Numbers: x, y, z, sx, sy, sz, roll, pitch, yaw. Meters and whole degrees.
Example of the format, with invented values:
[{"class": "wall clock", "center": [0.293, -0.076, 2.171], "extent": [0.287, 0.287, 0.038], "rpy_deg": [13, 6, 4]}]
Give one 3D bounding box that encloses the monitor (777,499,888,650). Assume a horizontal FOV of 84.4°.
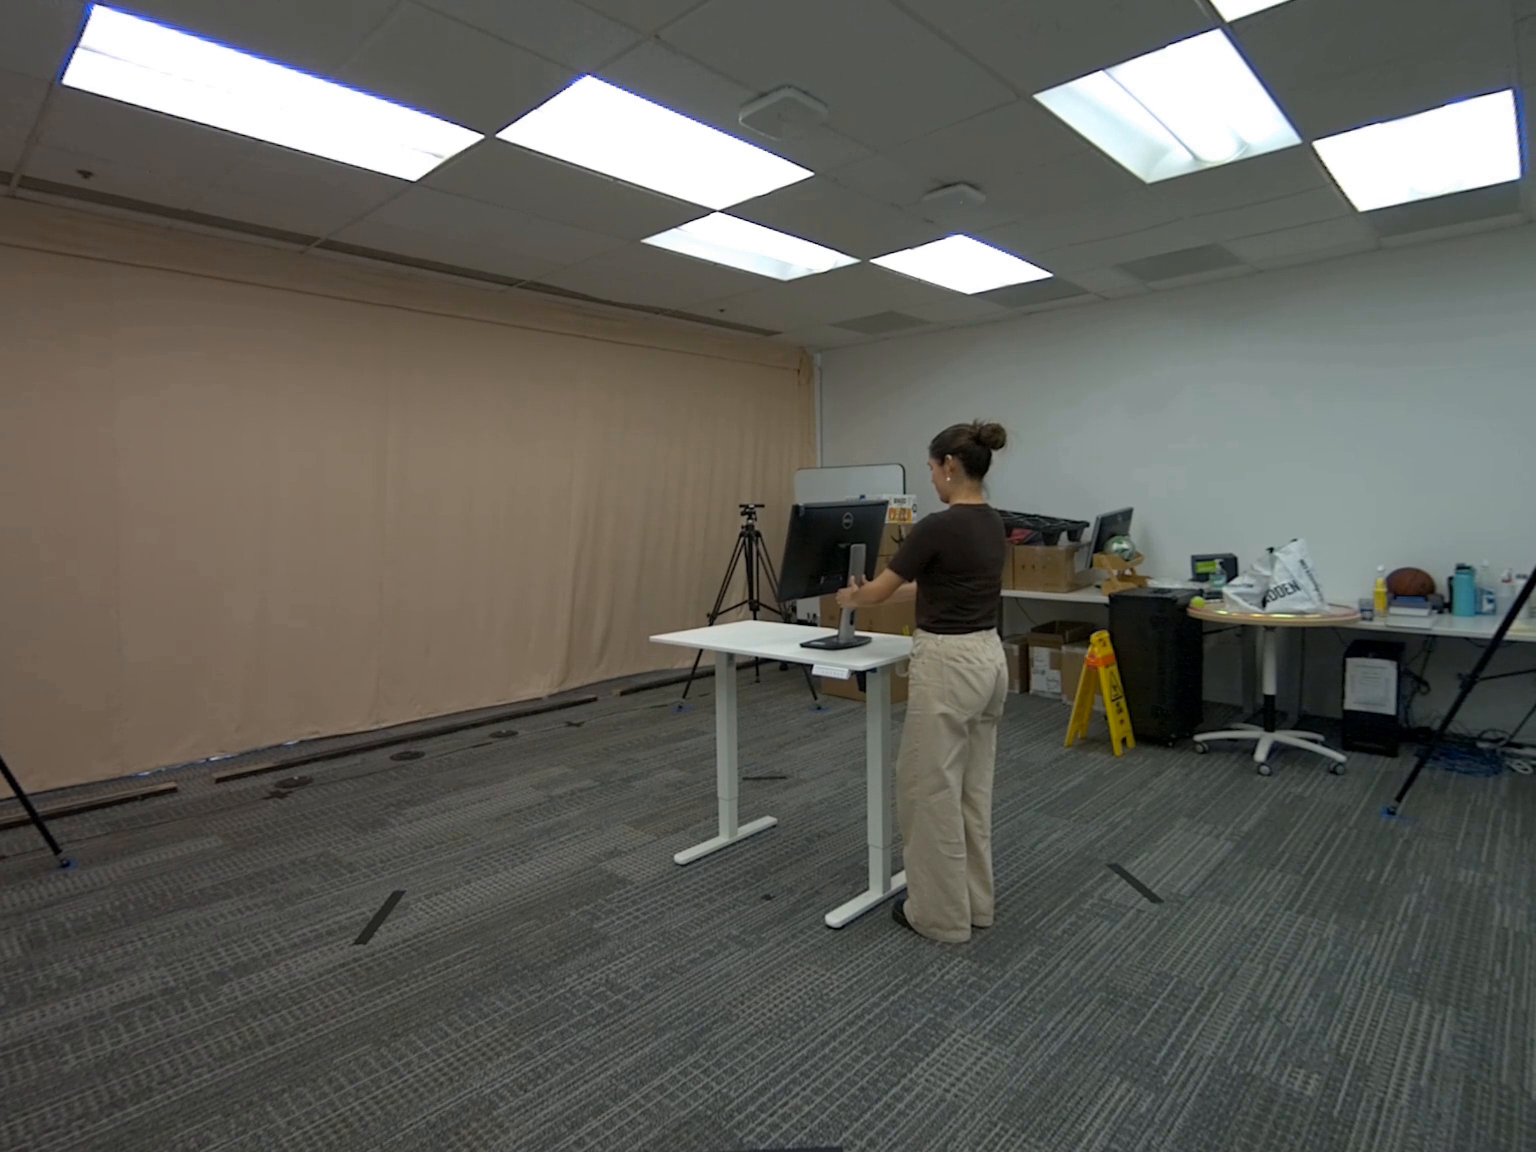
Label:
[{"class": "monitor", "center": [0.263, -0.004, 3.024], "extent": [0.193, 0.521, 0.523], "rpy_deg": [4, 7, 43]}]
